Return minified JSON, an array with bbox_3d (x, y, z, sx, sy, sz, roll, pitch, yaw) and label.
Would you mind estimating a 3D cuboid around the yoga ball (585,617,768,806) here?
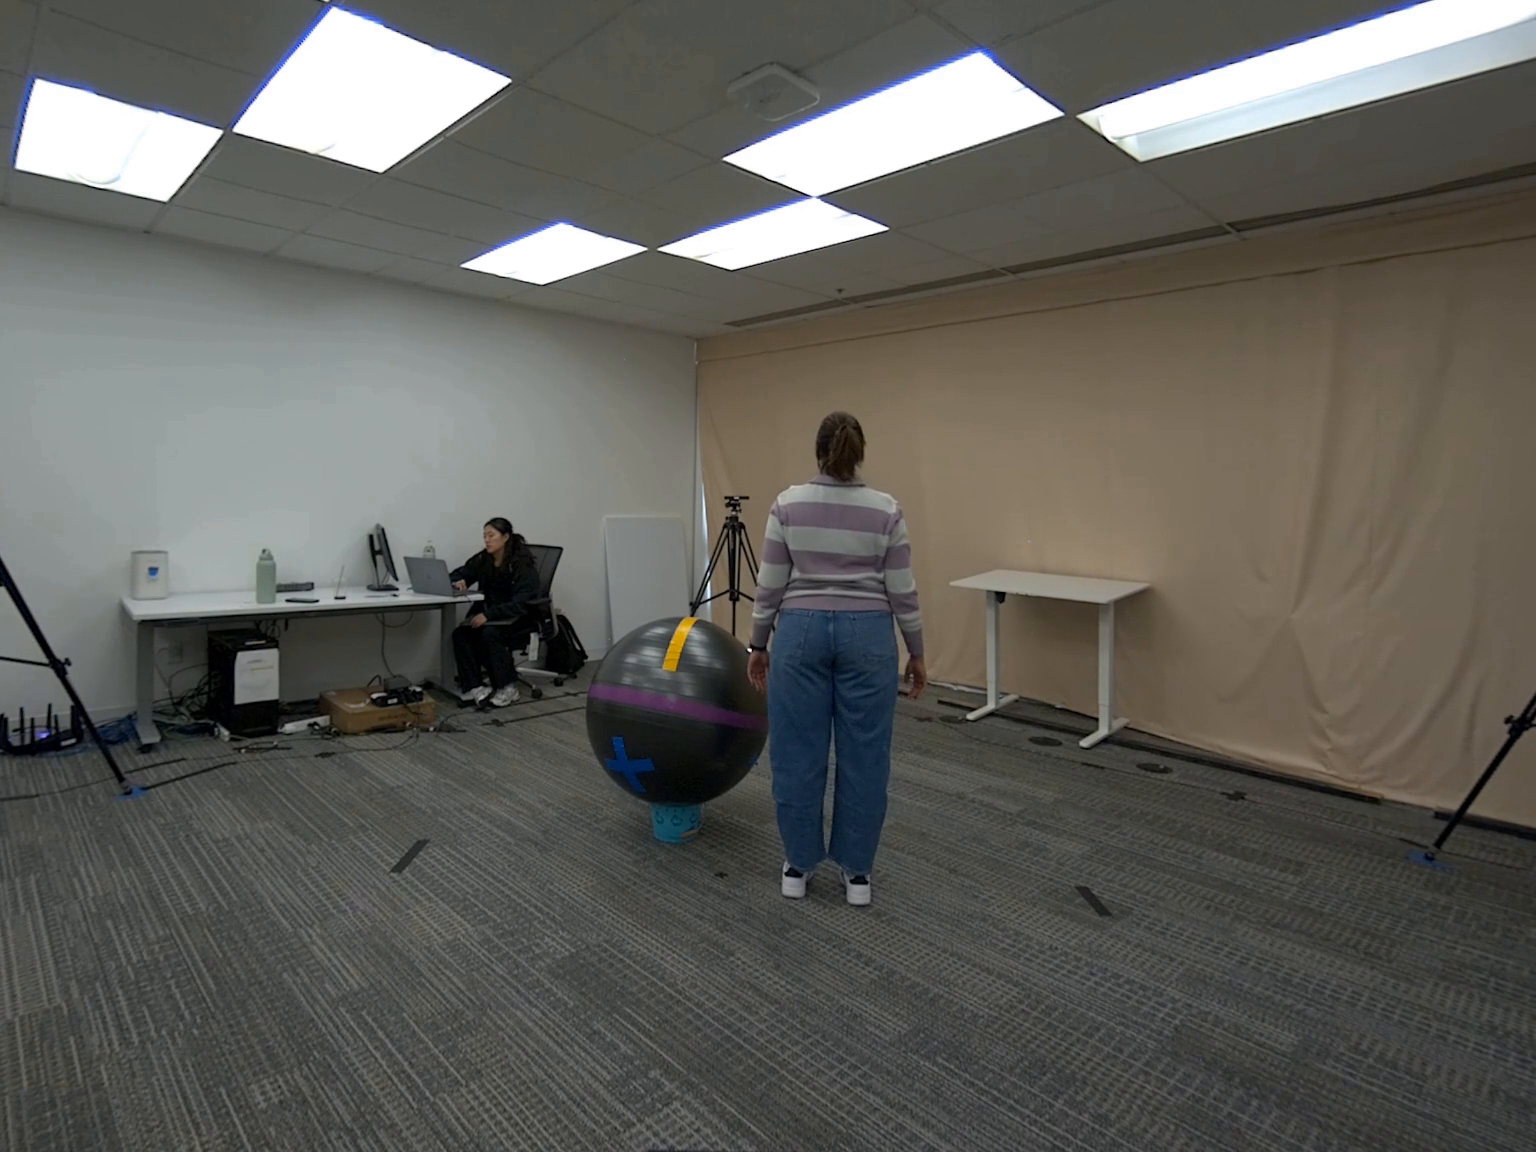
[{"bbox_3d":[-0.385,0.558,3.482,0.757,0.756,0.761,1,4,-1],"label":"yoga ball"}]
